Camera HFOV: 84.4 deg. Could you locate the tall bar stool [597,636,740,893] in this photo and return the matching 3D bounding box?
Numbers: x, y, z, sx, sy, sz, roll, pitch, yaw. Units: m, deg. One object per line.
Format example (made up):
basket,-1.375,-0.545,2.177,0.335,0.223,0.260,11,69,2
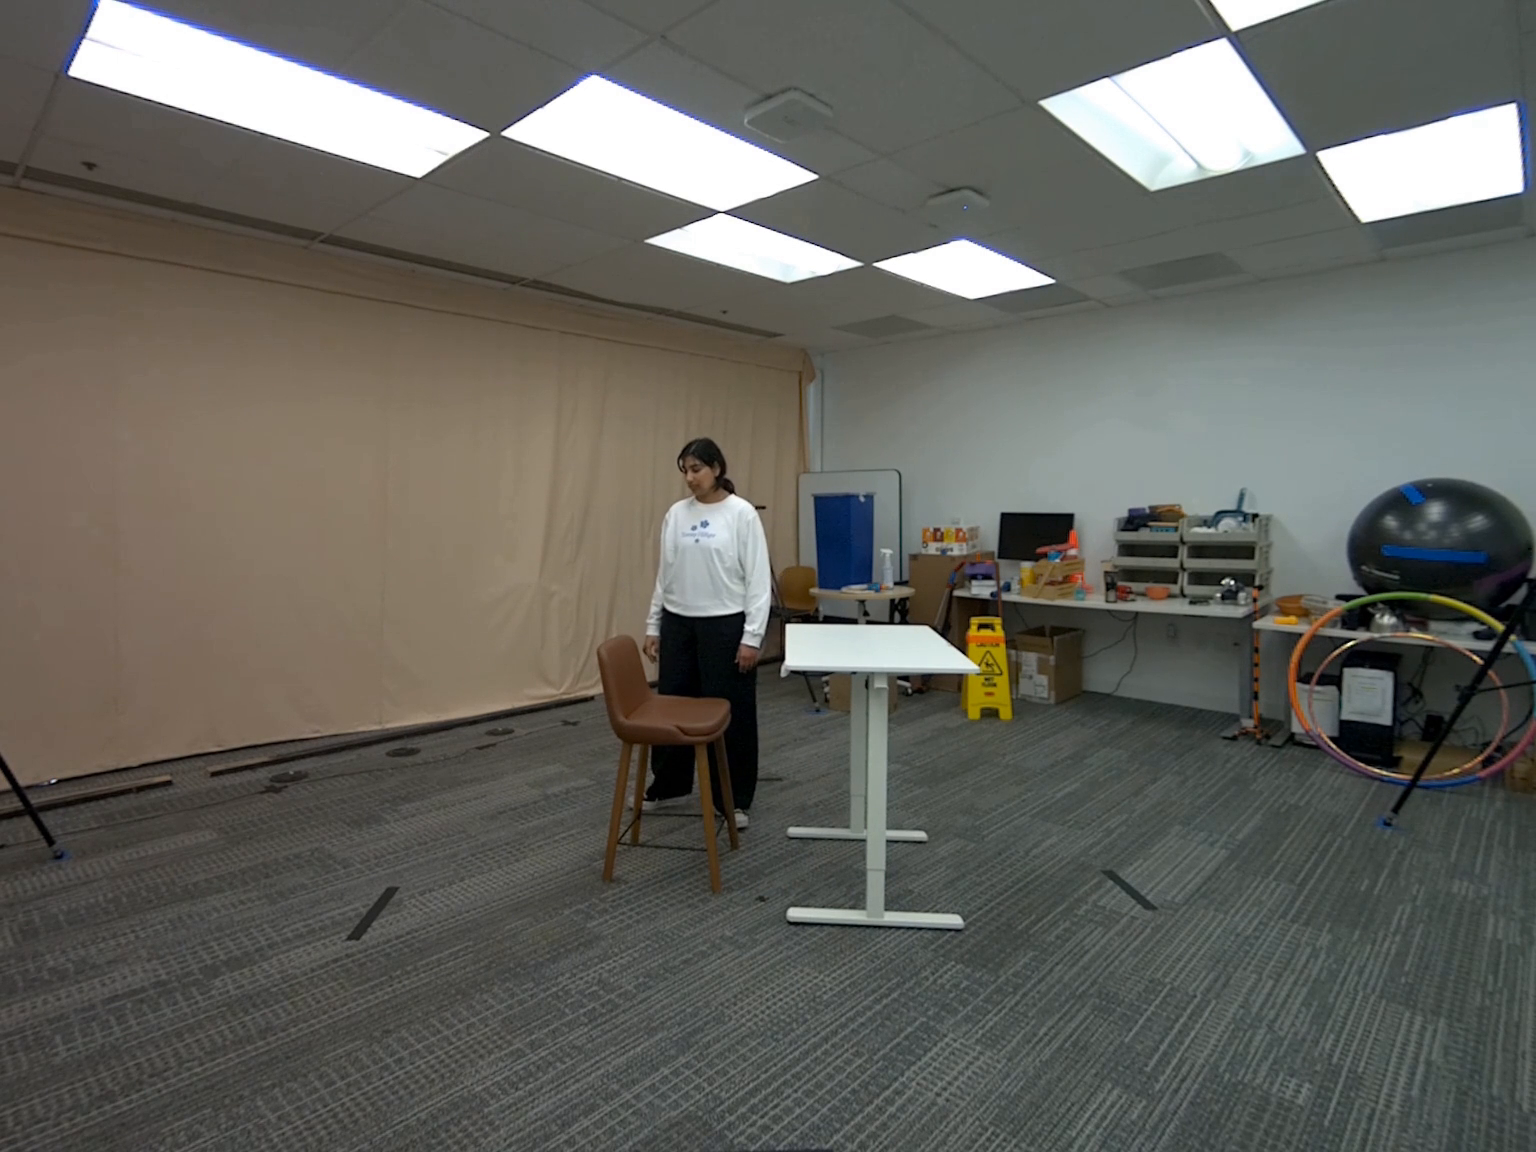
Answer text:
tall bar stool,-0.377,0.688,3.248,0.474,0.888,0.451,-2,2,11
